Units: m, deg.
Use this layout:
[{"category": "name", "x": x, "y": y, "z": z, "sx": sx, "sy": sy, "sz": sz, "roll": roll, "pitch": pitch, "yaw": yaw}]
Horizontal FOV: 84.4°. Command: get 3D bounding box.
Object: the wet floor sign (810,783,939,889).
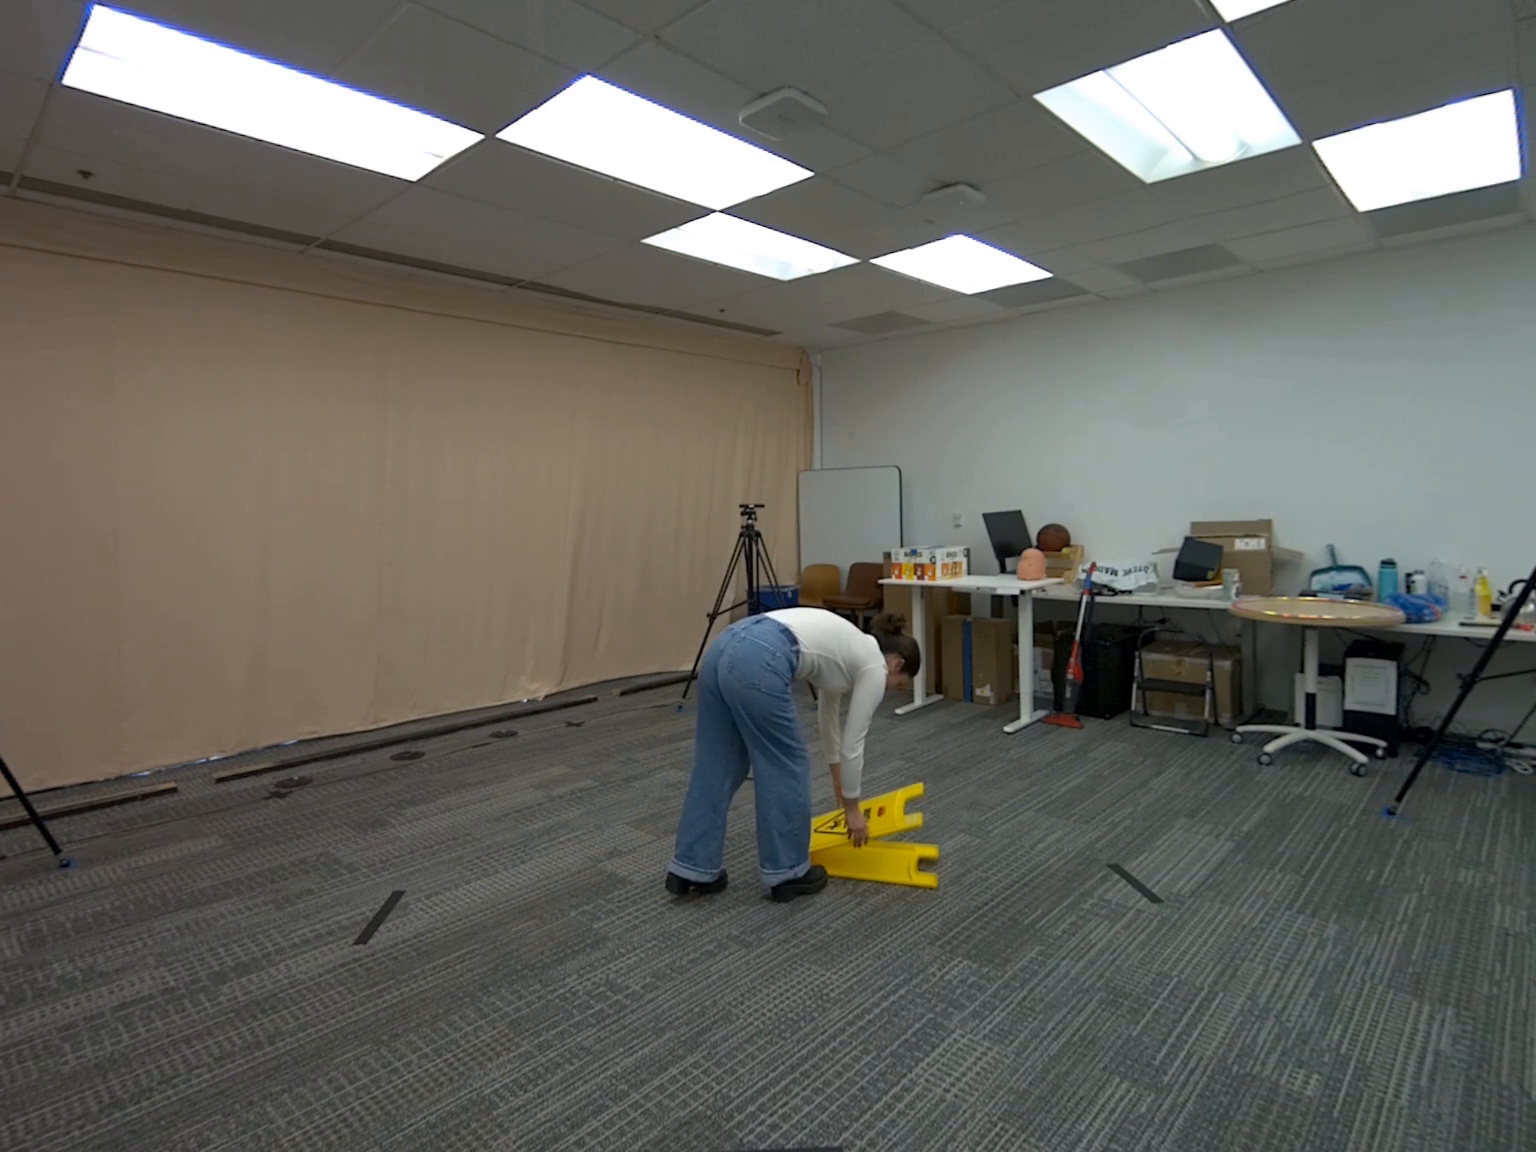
[{"category": "wet floor sign", "x": 0.301, "y": 1.017, "z": 3.224, "sx": 0.656, "sy": 0.287, "sz": 0.280, "roll": -10, "pitch": 12, "yaw": 17}]
